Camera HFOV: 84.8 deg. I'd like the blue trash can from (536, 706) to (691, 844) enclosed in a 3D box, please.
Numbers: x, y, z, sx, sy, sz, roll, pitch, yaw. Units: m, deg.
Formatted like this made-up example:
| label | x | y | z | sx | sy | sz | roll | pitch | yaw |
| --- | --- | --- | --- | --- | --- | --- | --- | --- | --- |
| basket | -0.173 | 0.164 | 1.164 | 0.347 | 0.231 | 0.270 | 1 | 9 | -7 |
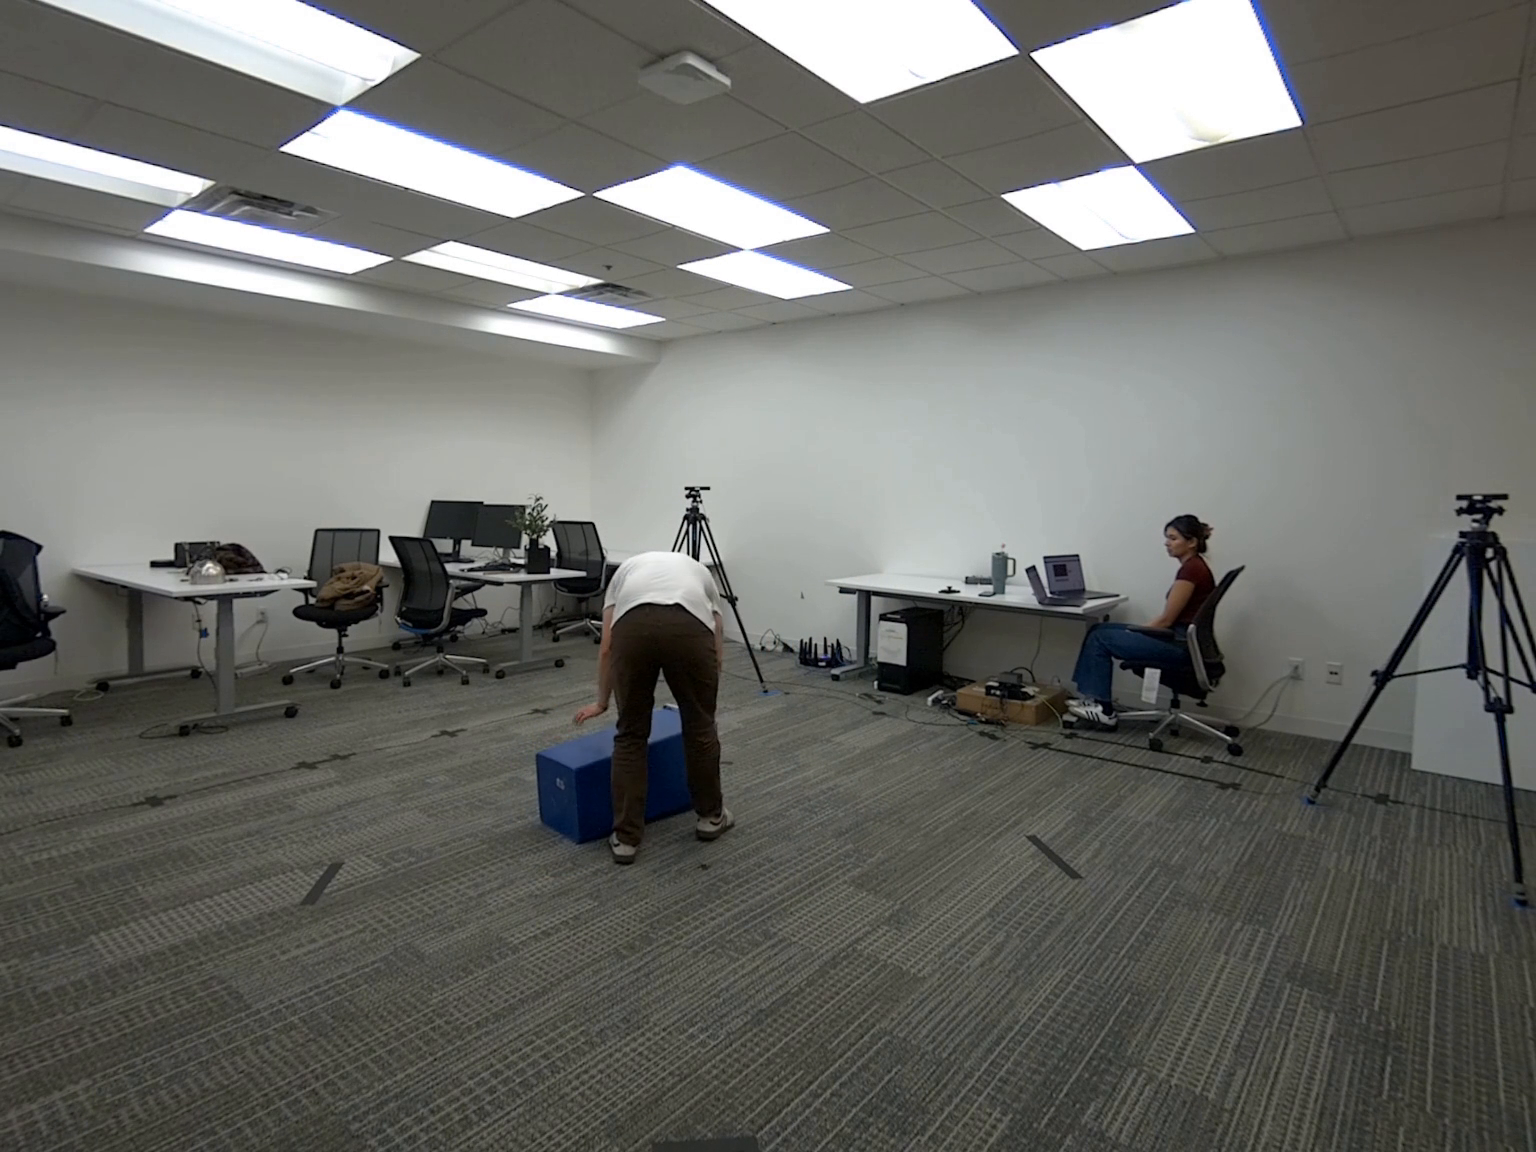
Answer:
| label | x | y | z | sx | sy | sz | roll | pitch | yaw |
| --- | --- | --- | --- | --- | --- | --- | --- | --- | --- |
| blue trash can | -0.611 | 0.822 | 3.612 | 0.694 | 0.376 | 0.387 | -9 | 9 | -44 |
